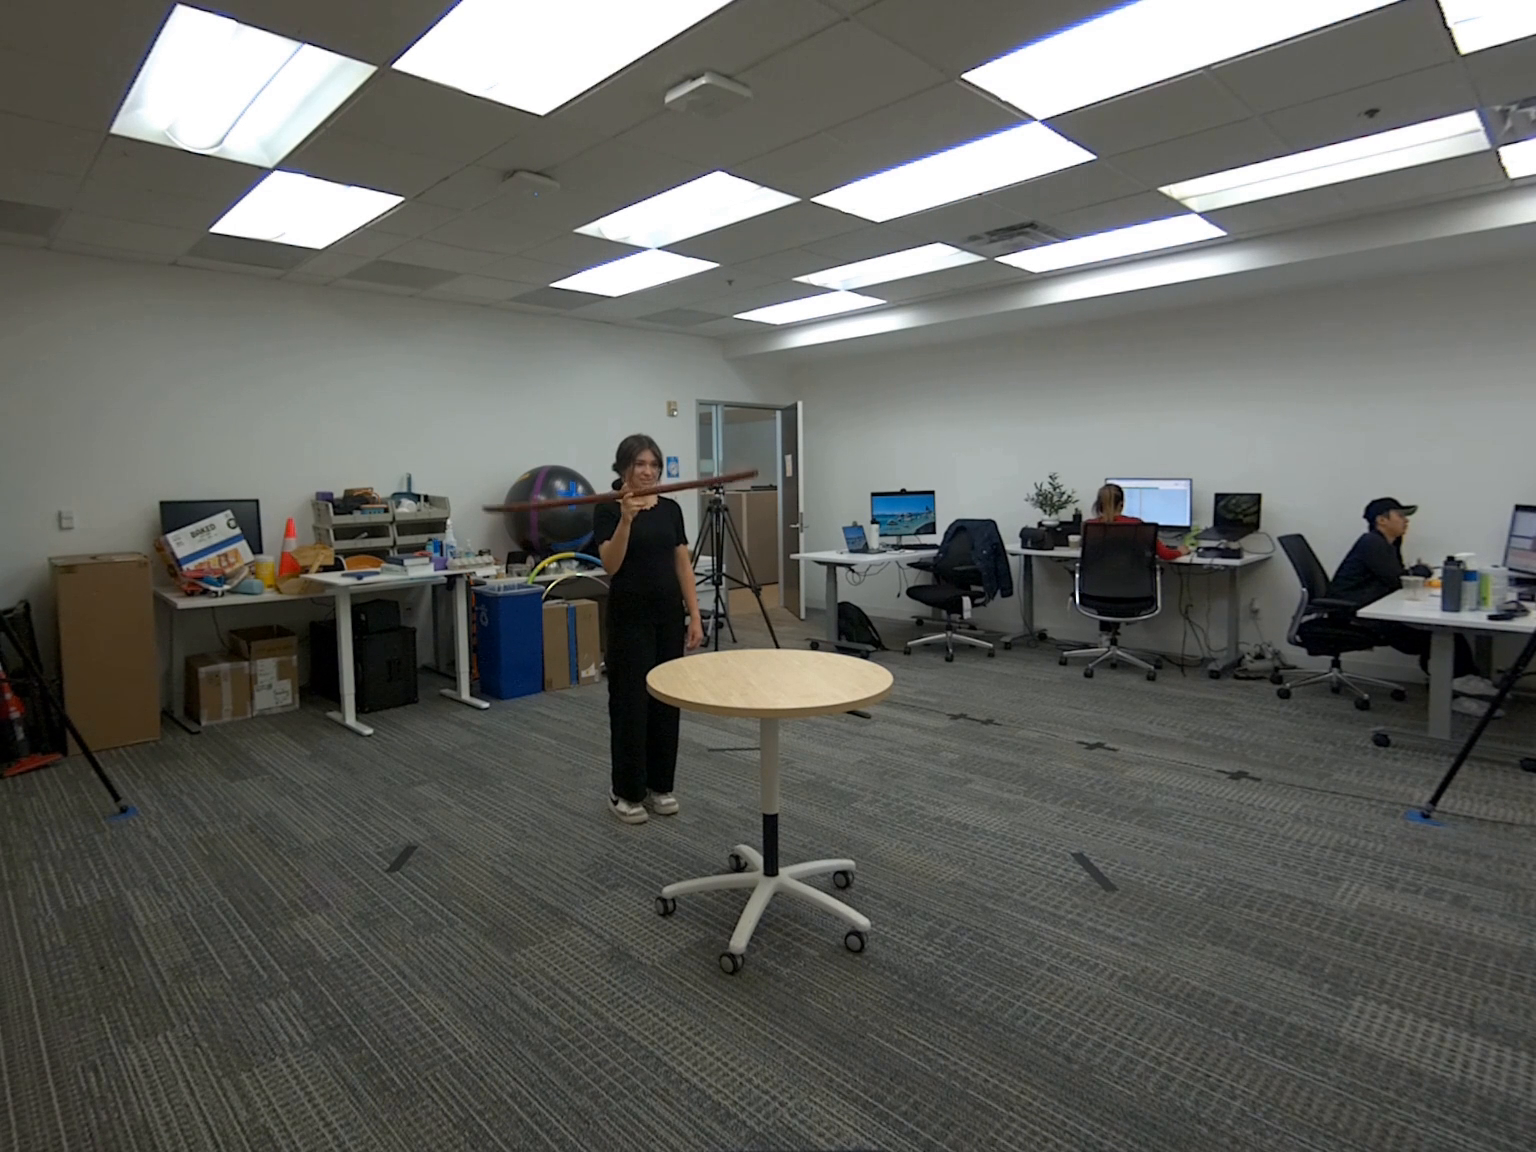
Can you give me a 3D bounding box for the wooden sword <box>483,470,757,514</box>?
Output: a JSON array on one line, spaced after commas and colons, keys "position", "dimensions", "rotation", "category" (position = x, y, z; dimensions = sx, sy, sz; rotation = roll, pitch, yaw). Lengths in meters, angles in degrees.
[{"position": [-0.514, -0.291, 3.157], "dimensions": [1.014, 0.051, 0.024], "rotation": [-11, 9, -13], "category": "wooden sword"}]
